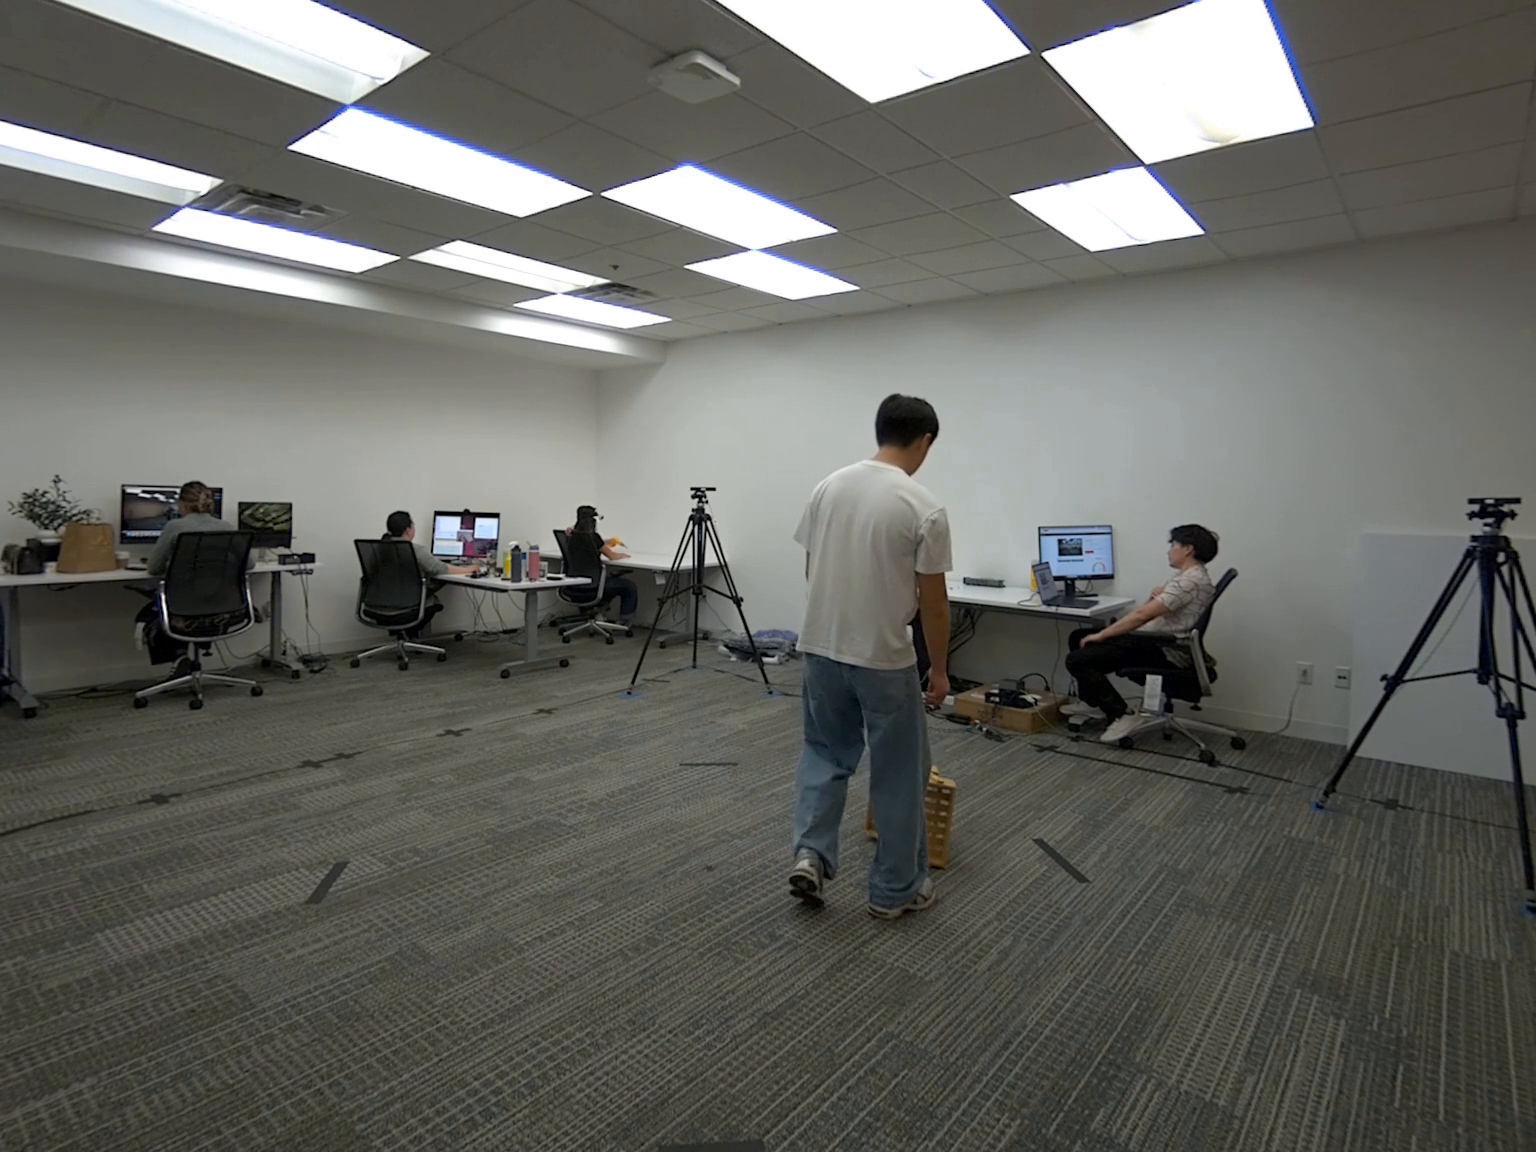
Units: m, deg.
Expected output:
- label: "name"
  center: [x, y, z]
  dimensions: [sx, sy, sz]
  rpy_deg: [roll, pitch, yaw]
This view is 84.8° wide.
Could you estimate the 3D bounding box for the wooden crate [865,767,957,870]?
- label: "wooden crate"
  center: [0.533, 0.896, 3.285]
  dimensions: [0.306, 0.324, 0.270]
  rpy_deg: [7, 1, 9]
